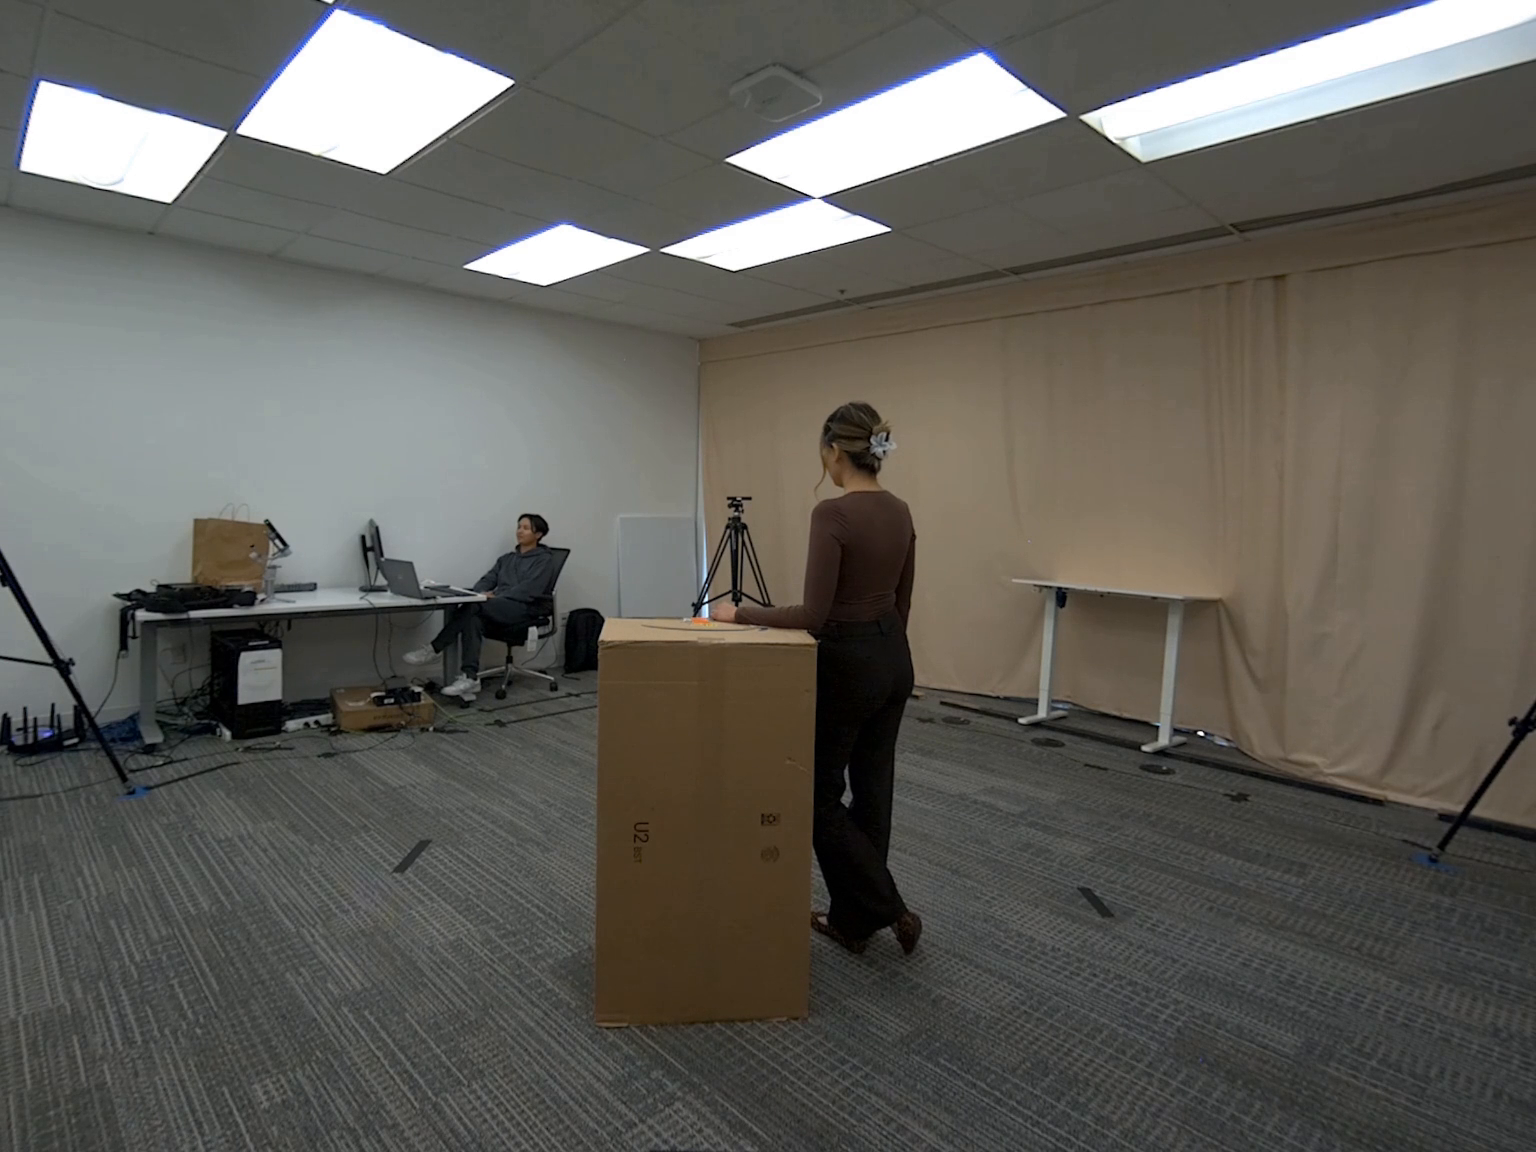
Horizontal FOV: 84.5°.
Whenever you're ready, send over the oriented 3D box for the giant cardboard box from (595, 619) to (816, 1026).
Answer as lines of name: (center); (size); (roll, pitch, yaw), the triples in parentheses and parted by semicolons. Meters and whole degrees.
giant cardboard box: (-0.202, 0.660, 2.411); (0.581, 1.024, 0.450); (1, 3, -7)
